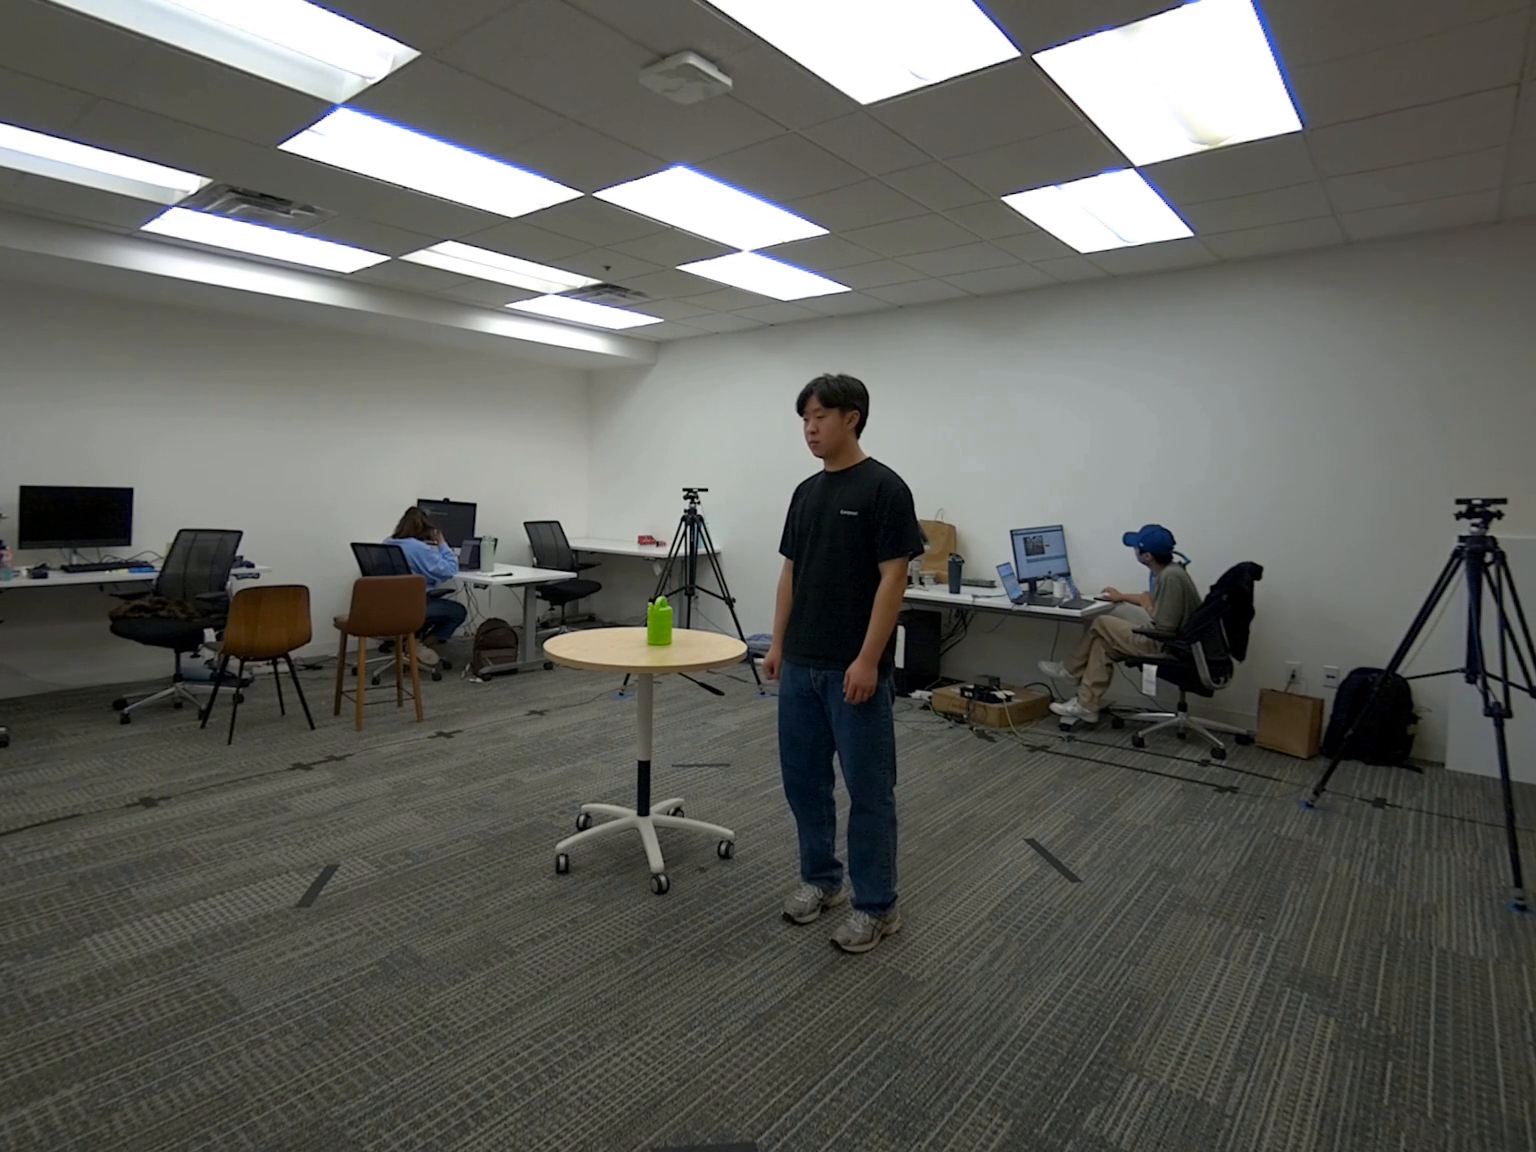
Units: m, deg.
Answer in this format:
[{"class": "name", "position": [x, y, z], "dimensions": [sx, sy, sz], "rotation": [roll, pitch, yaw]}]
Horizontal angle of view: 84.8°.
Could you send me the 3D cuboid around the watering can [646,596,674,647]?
[{"class": "watering can", "position": [-0.445, 0.173, 3.225], "dimensions": [0.100, 0.176, 0.273], "rotation": [3, 3, 19]}]
